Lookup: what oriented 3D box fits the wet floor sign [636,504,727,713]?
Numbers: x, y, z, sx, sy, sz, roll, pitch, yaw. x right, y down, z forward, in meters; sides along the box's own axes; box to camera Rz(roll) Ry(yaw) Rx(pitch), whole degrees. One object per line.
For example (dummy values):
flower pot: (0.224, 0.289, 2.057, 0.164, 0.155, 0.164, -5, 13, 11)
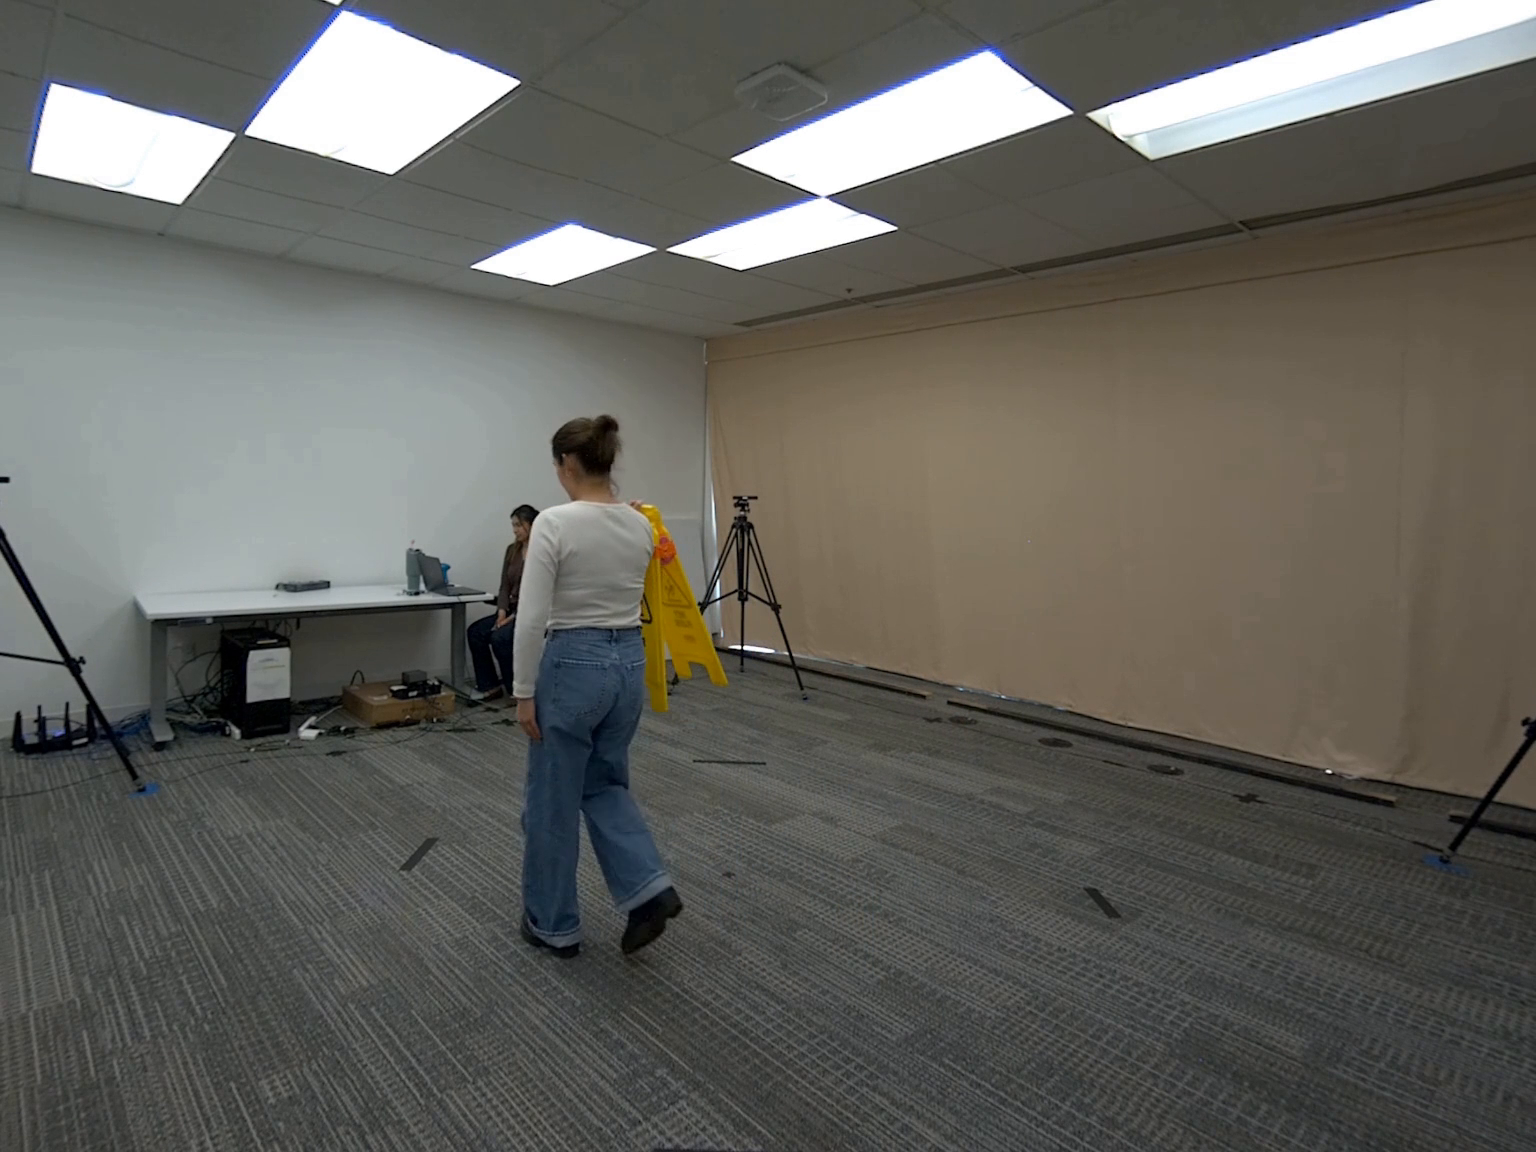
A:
wet floor sign: (-0.376, 0.090, 2.796, 0.285, 0.641, 0.289, -17, 11, -41)
